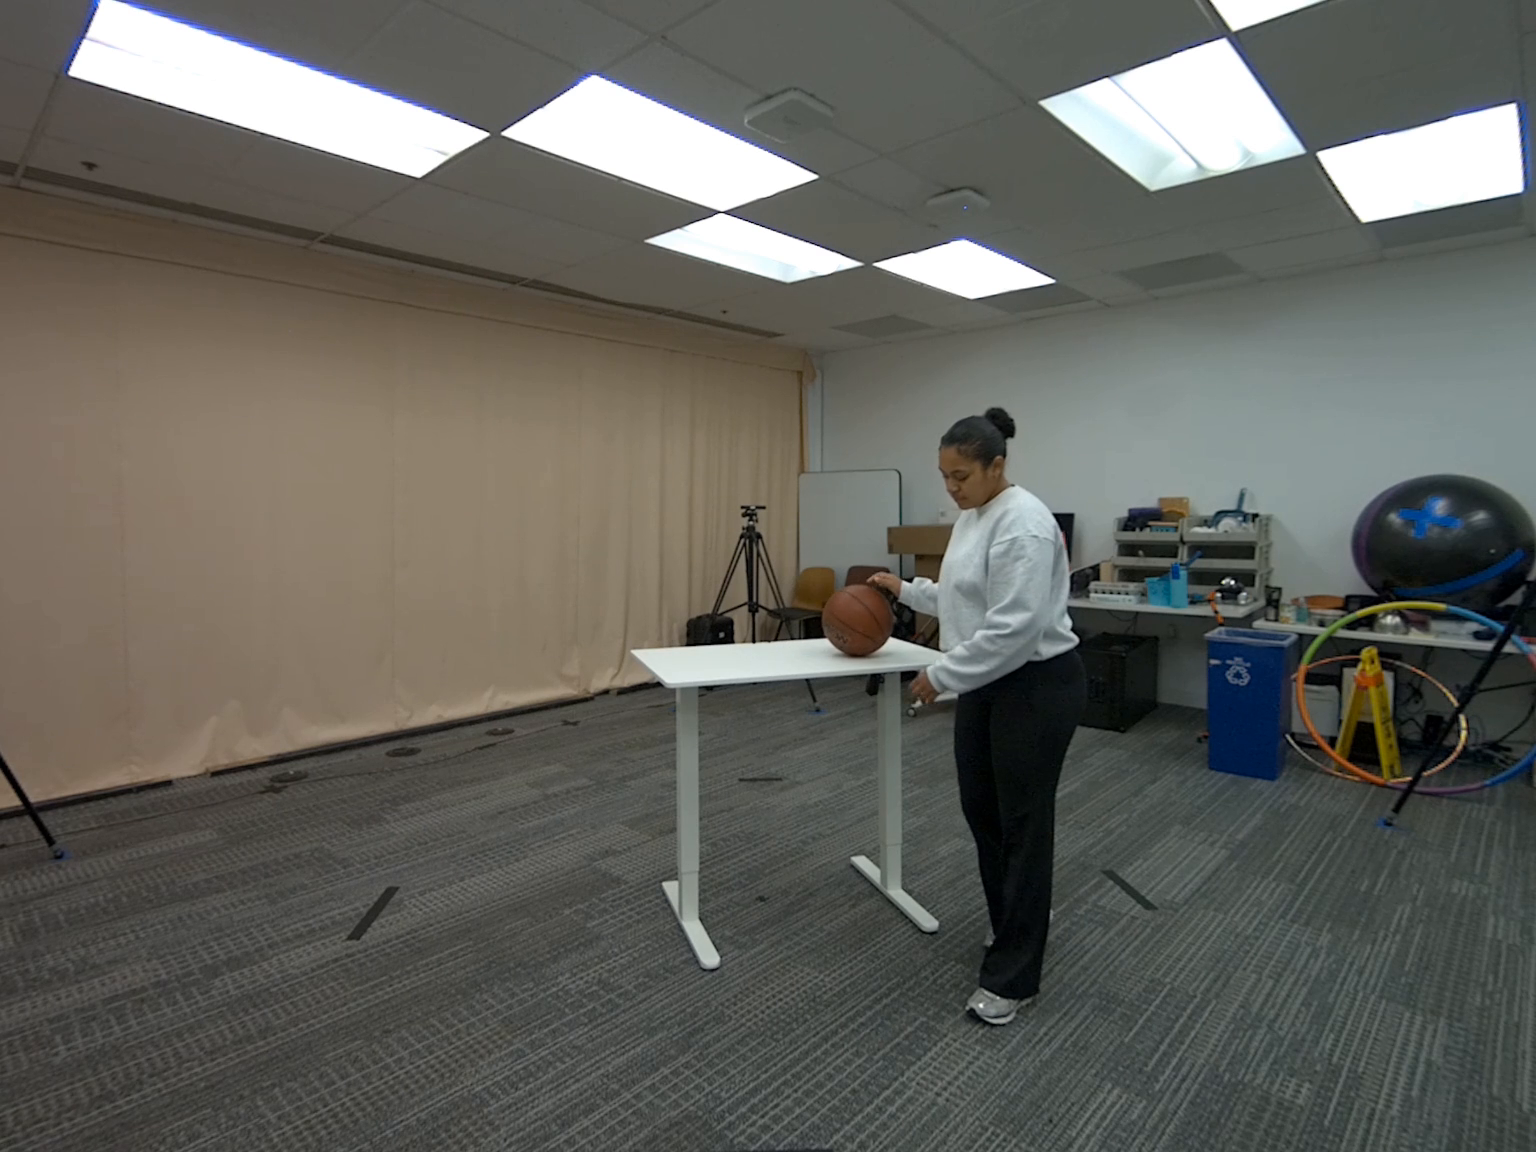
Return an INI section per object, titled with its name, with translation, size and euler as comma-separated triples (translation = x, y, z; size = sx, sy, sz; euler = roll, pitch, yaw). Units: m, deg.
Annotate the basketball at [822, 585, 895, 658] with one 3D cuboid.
[basketball]
translation = 0.309, 0.150, 2.846
size = 0.236, 0.235, 0.237
euler = 0, 4, -2
